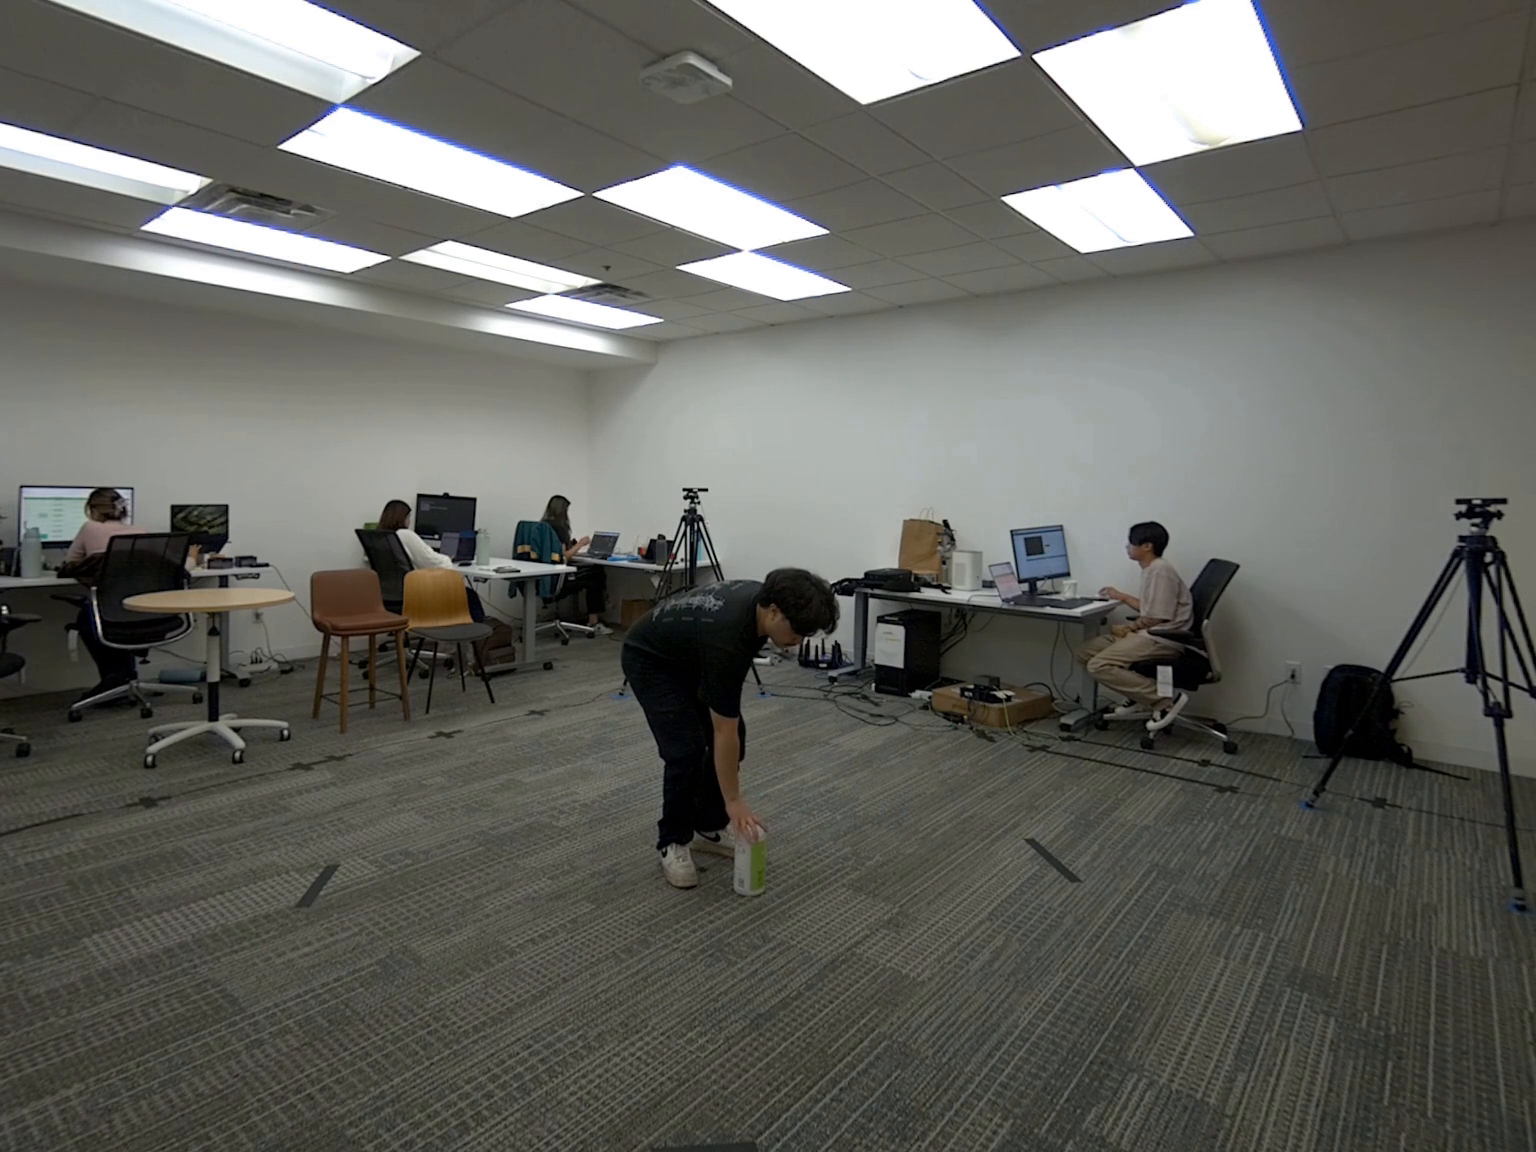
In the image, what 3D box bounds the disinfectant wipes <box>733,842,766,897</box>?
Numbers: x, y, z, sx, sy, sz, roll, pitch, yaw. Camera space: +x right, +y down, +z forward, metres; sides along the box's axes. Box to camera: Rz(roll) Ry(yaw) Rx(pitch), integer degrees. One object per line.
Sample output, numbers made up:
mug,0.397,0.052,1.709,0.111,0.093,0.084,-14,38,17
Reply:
disinfectant wipes,-0.067,0.990,2.949,0.118,0.217,0.118,2,2,-2
